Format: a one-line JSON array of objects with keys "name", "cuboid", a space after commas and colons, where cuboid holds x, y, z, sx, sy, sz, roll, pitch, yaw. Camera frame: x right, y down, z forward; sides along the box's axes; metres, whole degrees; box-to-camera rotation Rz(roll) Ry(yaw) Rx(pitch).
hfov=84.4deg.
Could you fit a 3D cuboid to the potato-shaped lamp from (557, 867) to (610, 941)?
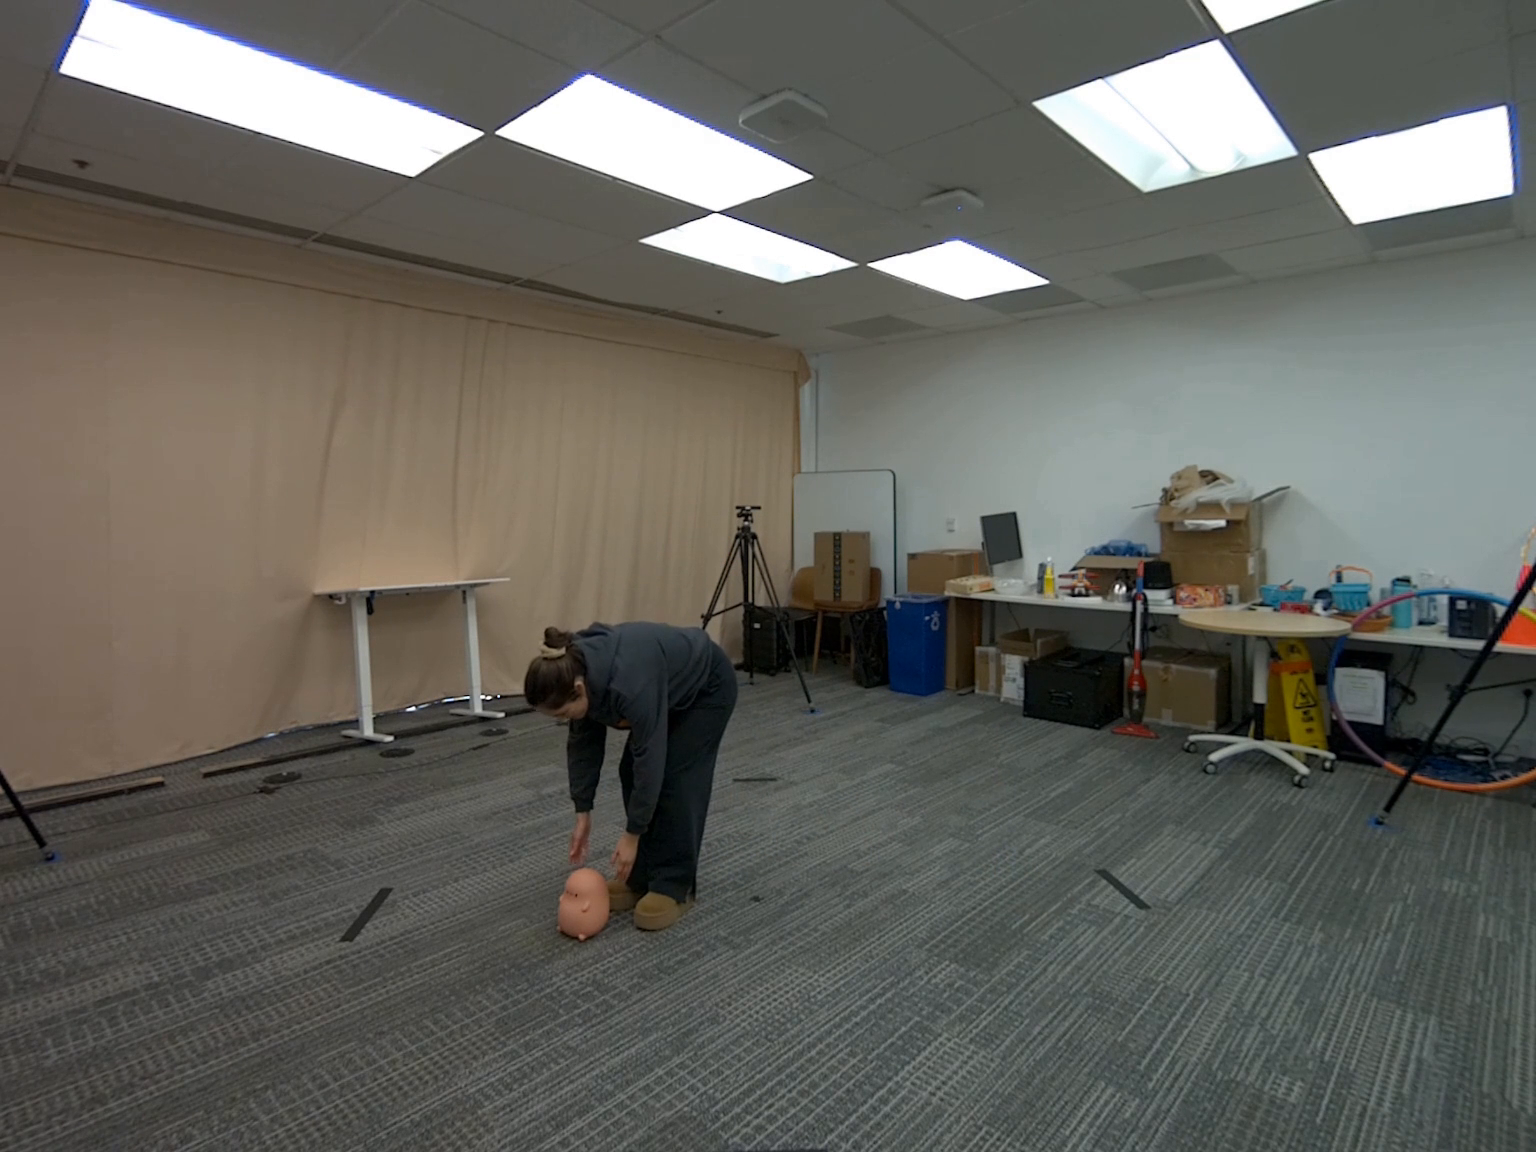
[{"name": "potato-shaped lamp", "cuboid": [-0.584, 1.065, 2.776, 0.170, 0.198, 0.166, 1, 2, 35]}]
